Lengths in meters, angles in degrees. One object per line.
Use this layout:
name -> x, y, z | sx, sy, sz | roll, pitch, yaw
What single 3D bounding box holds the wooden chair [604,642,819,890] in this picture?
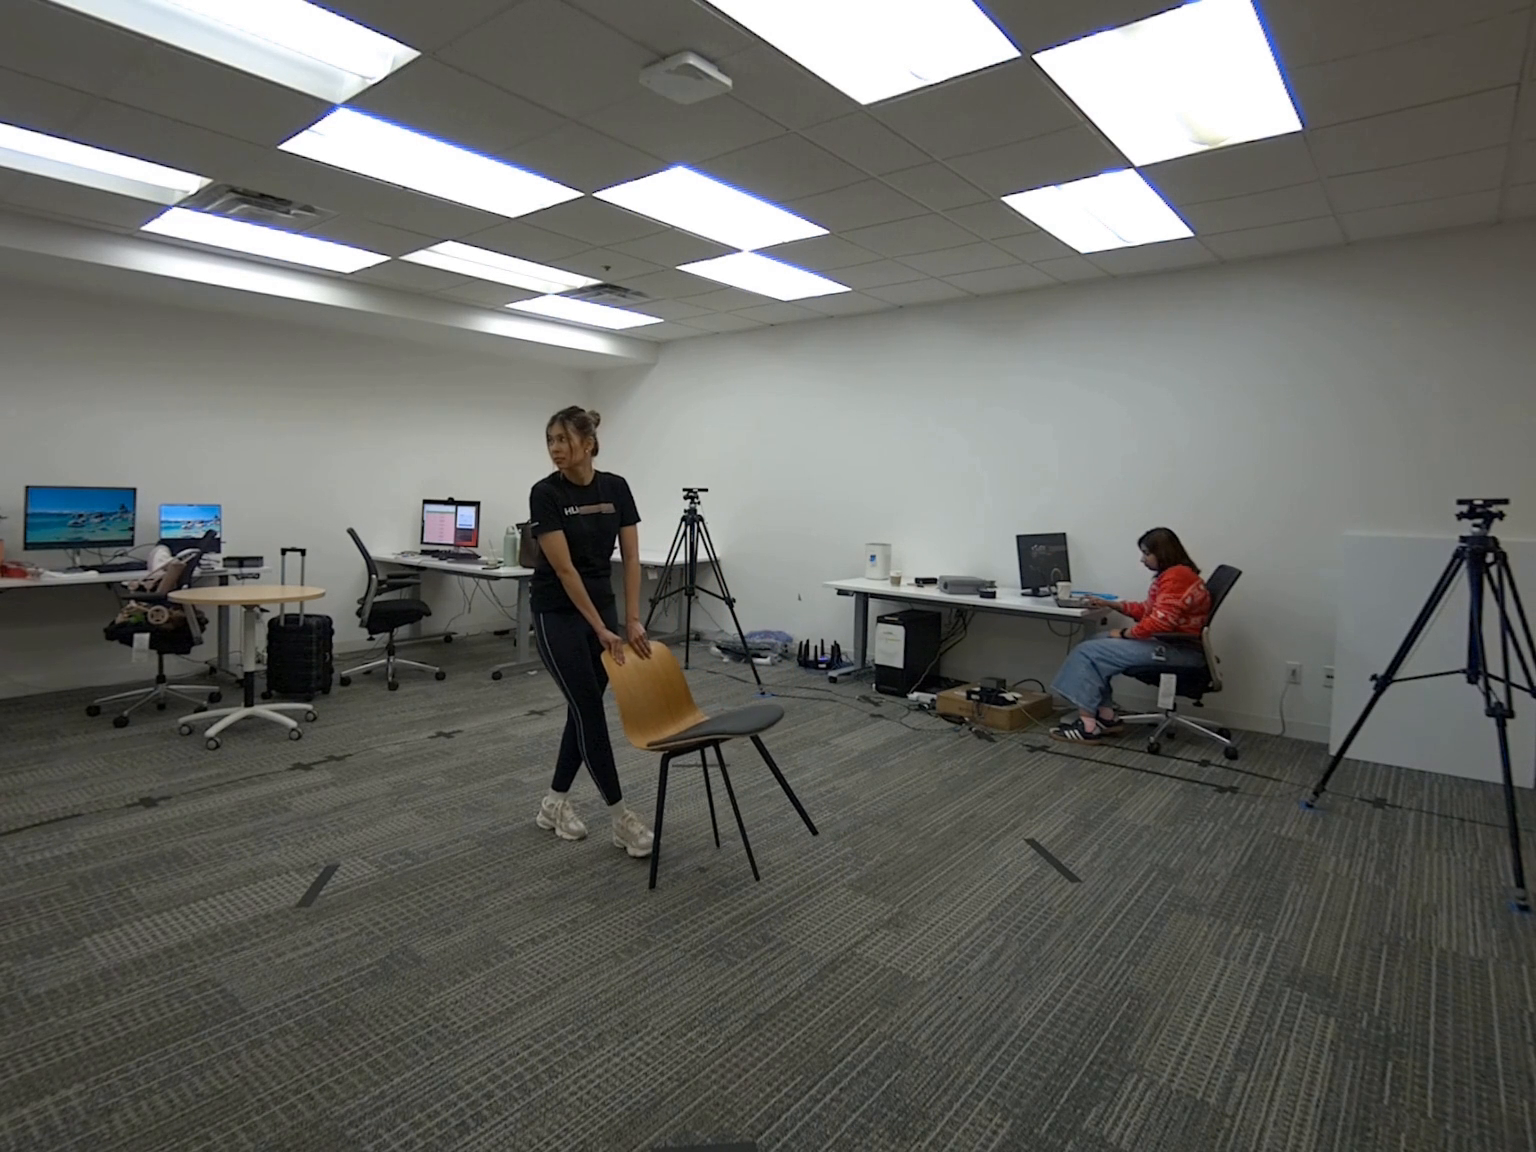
wooden chair -> -0.219, 0.597, 3.050 | 0.531, 0.888, 0.465 | -23, -10, 30
